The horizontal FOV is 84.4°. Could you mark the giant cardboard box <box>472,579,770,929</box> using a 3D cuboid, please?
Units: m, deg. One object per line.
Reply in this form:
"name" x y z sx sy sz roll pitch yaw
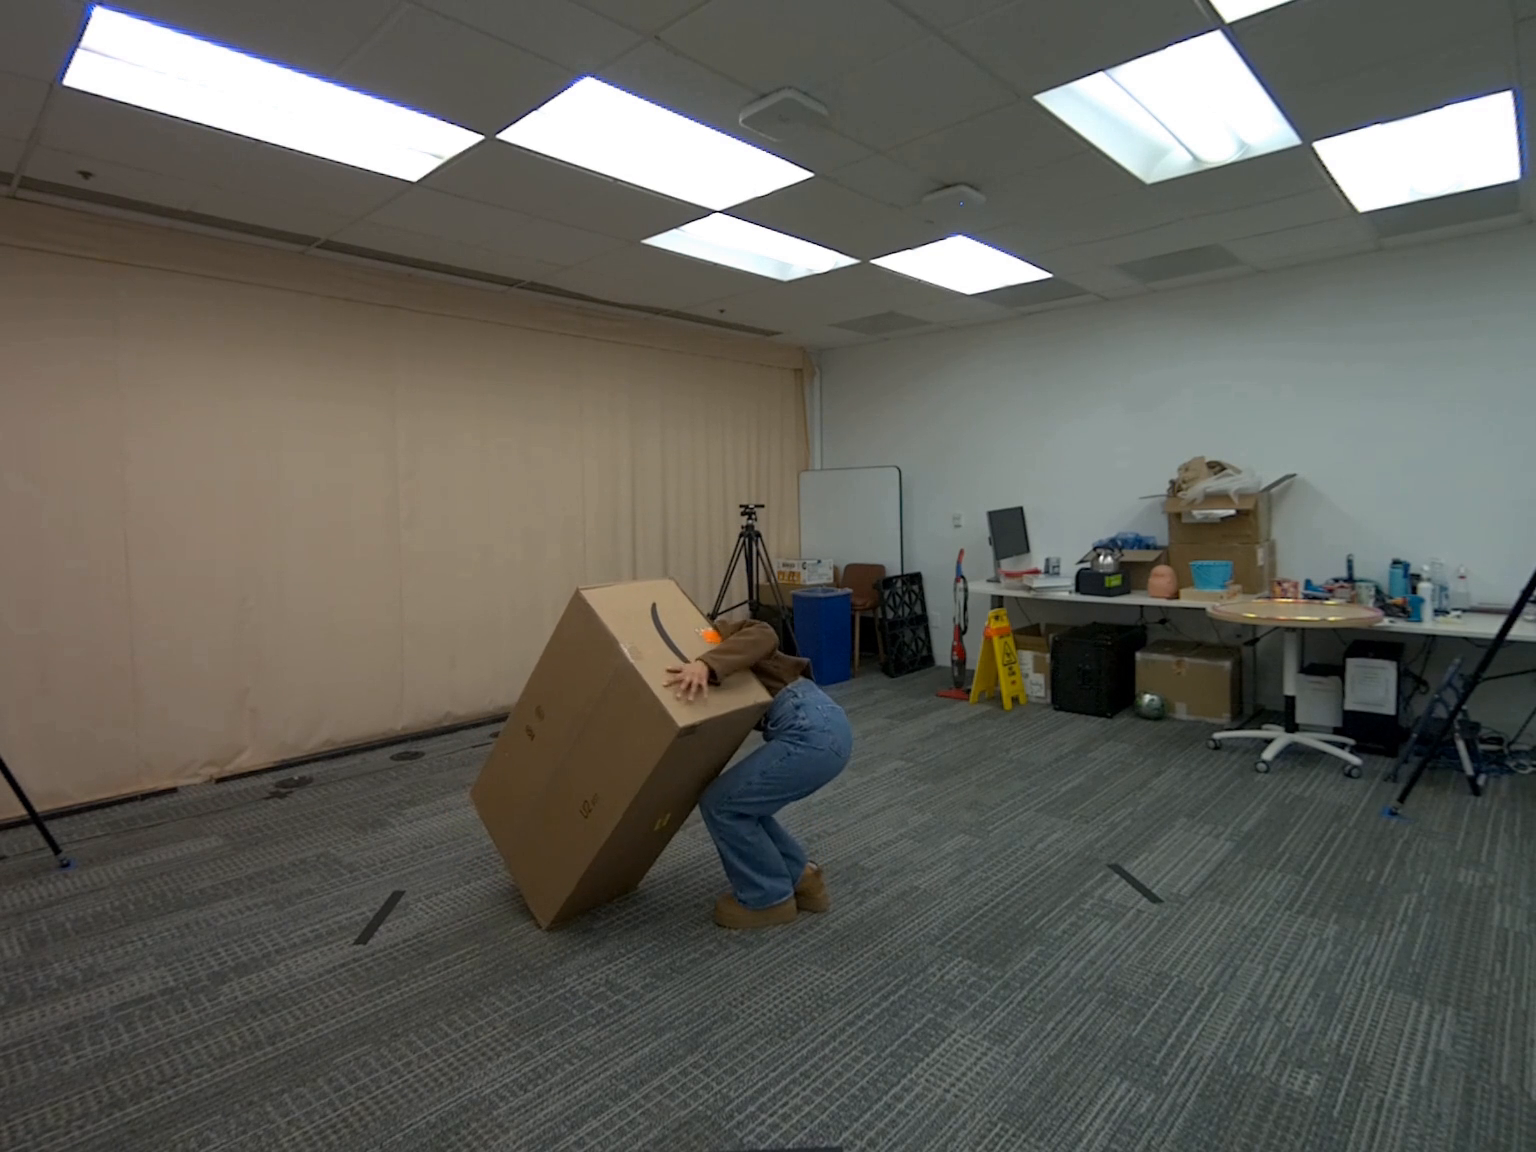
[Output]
"giant cardboard box" -0.531 0.587 2.837 0.413 1.027 0.595 -3 44 -49
